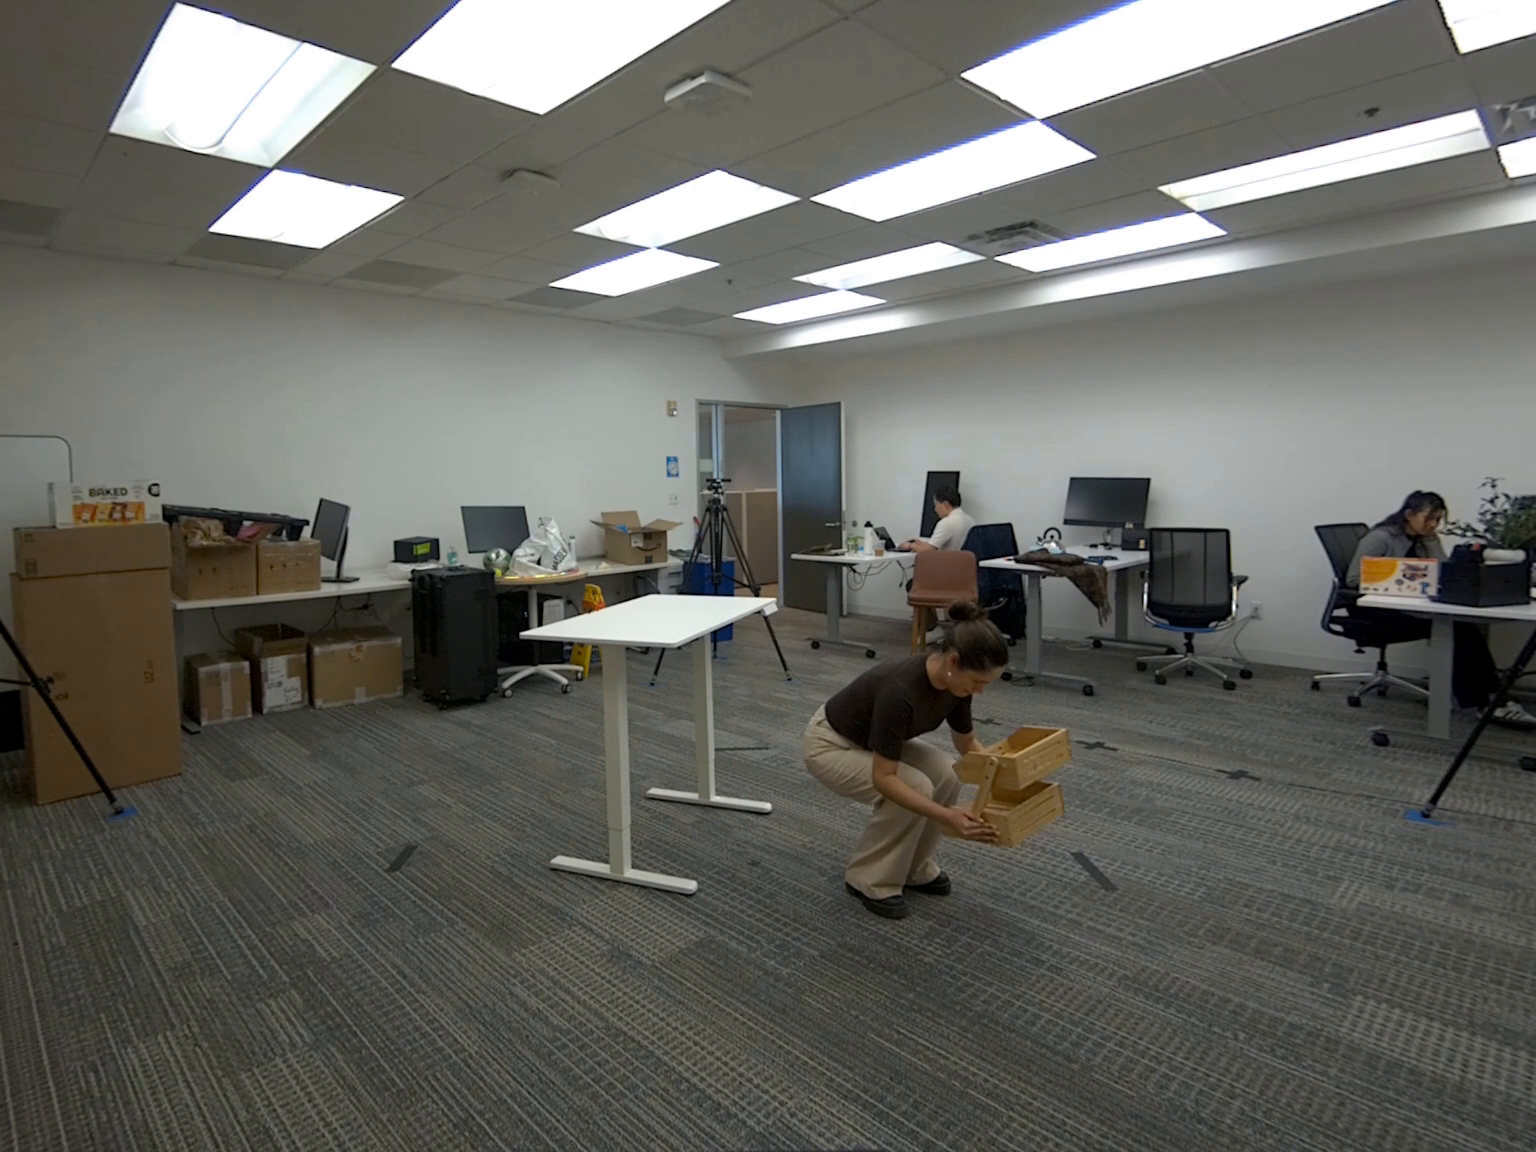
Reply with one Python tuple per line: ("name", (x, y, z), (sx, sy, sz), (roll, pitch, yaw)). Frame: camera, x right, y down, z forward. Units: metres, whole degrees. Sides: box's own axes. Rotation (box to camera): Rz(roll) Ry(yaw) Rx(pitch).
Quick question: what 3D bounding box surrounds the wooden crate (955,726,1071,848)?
("wooden crate", (0.702, 0.606, 2.547), (0.317, 0.273, 0.309), (-10, 2, -42))
